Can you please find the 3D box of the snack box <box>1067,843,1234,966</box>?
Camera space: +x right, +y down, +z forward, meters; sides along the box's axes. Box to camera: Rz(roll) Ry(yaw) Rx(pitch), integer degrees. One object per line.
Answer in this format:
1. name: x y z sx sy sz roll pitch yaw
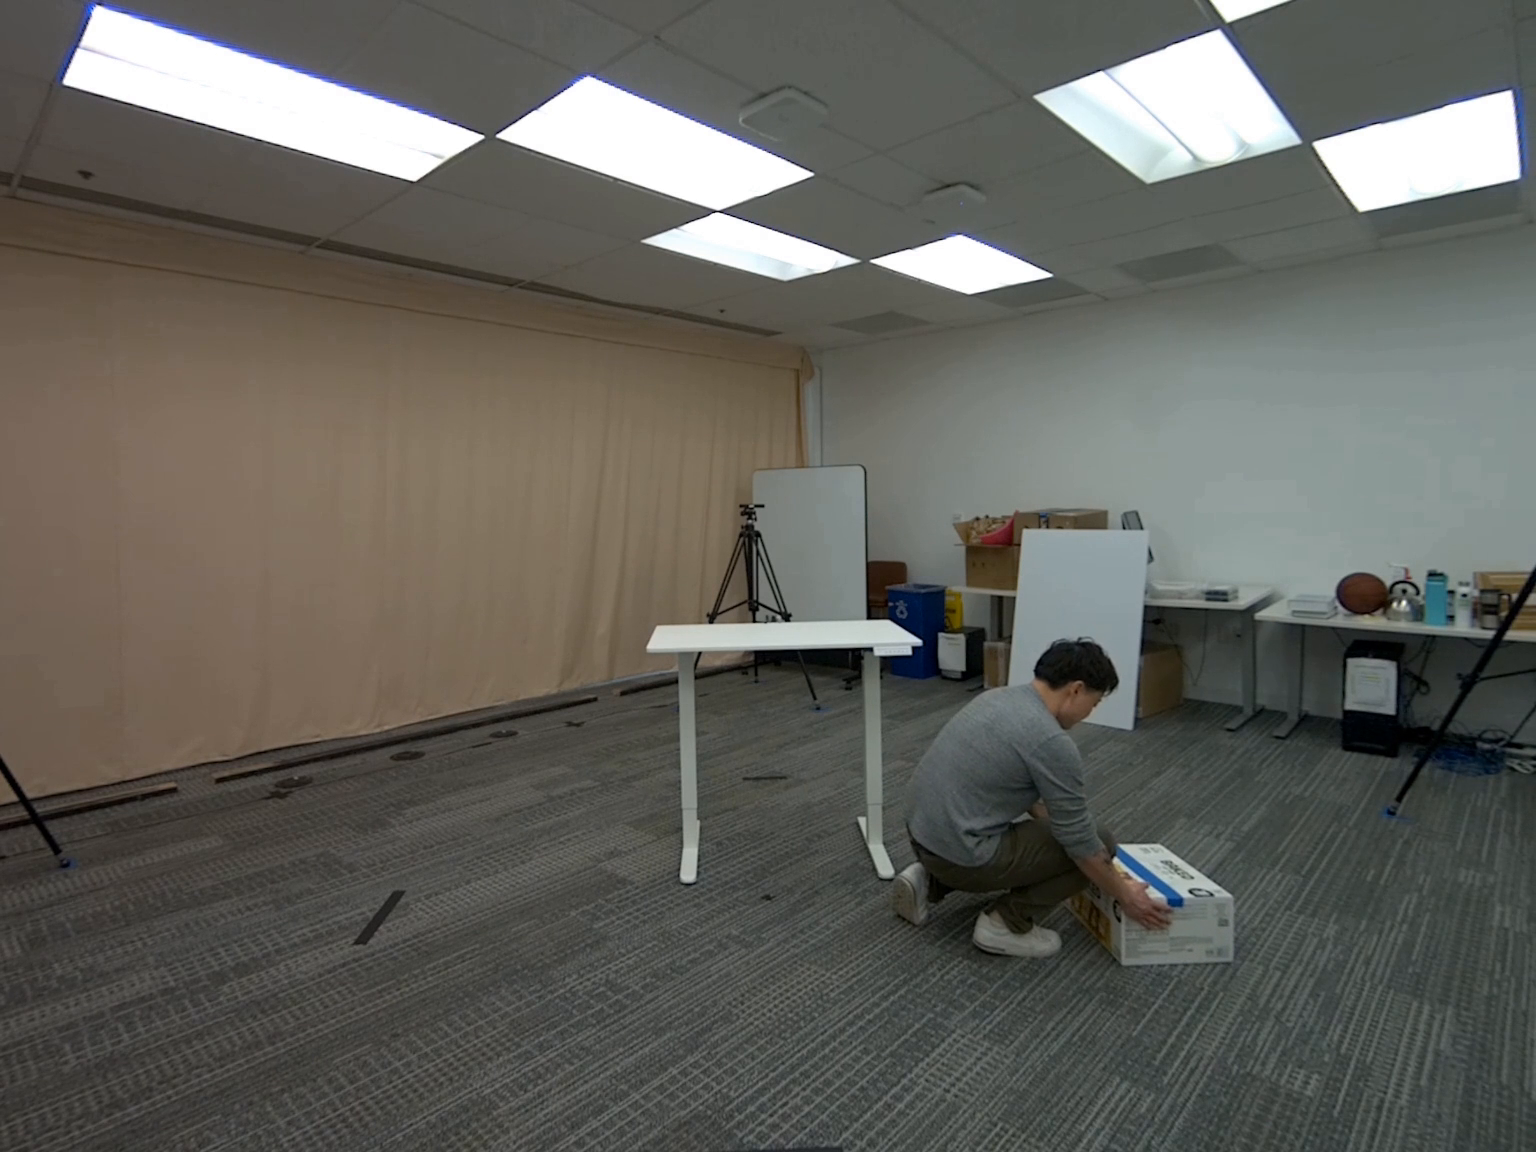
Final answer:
1. snack box: 1.213 1.047 2.696 0.339 0.205 0.407 -2 4 -4
